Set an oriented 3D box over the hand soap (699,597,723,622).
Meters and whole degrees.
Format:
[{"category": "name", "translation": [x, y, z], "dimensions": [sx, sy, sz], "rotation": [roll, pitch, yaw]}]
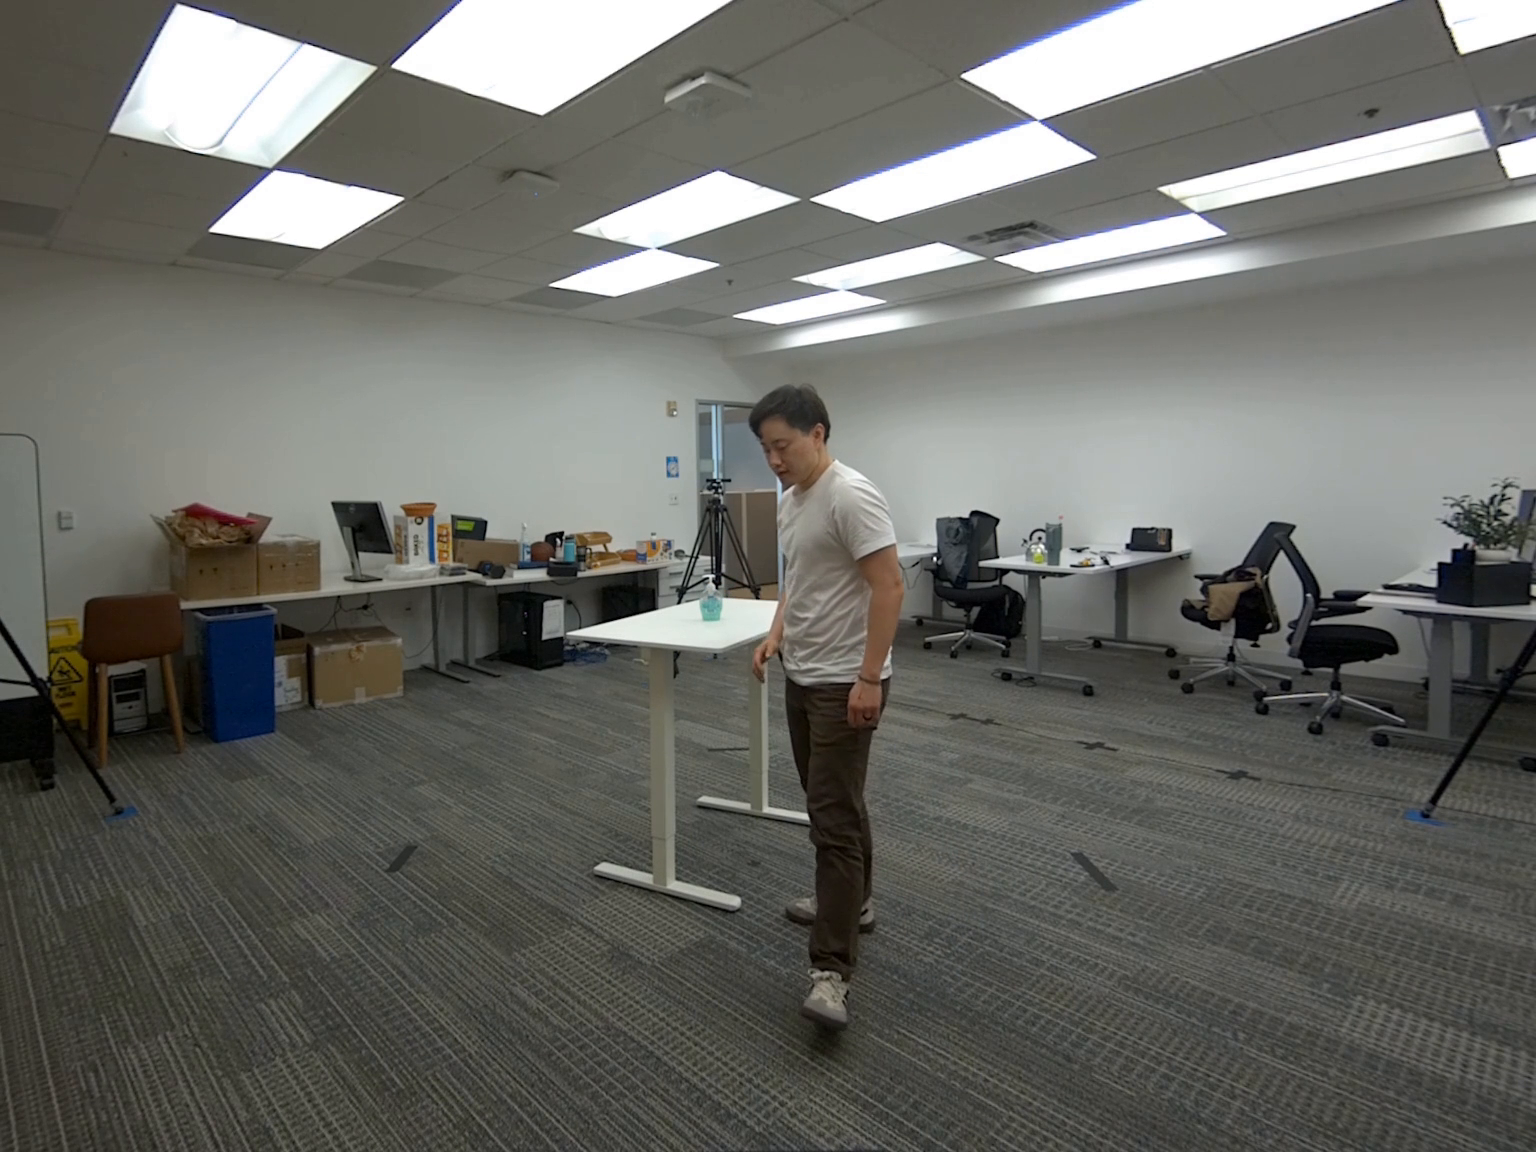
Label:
[{"category": "hand soap", "translation": [-0.215, 0.081, 3.136], "dimensions": [0.084, 0.168, 0.043], "rotation": [-4, -1, -5]}]
